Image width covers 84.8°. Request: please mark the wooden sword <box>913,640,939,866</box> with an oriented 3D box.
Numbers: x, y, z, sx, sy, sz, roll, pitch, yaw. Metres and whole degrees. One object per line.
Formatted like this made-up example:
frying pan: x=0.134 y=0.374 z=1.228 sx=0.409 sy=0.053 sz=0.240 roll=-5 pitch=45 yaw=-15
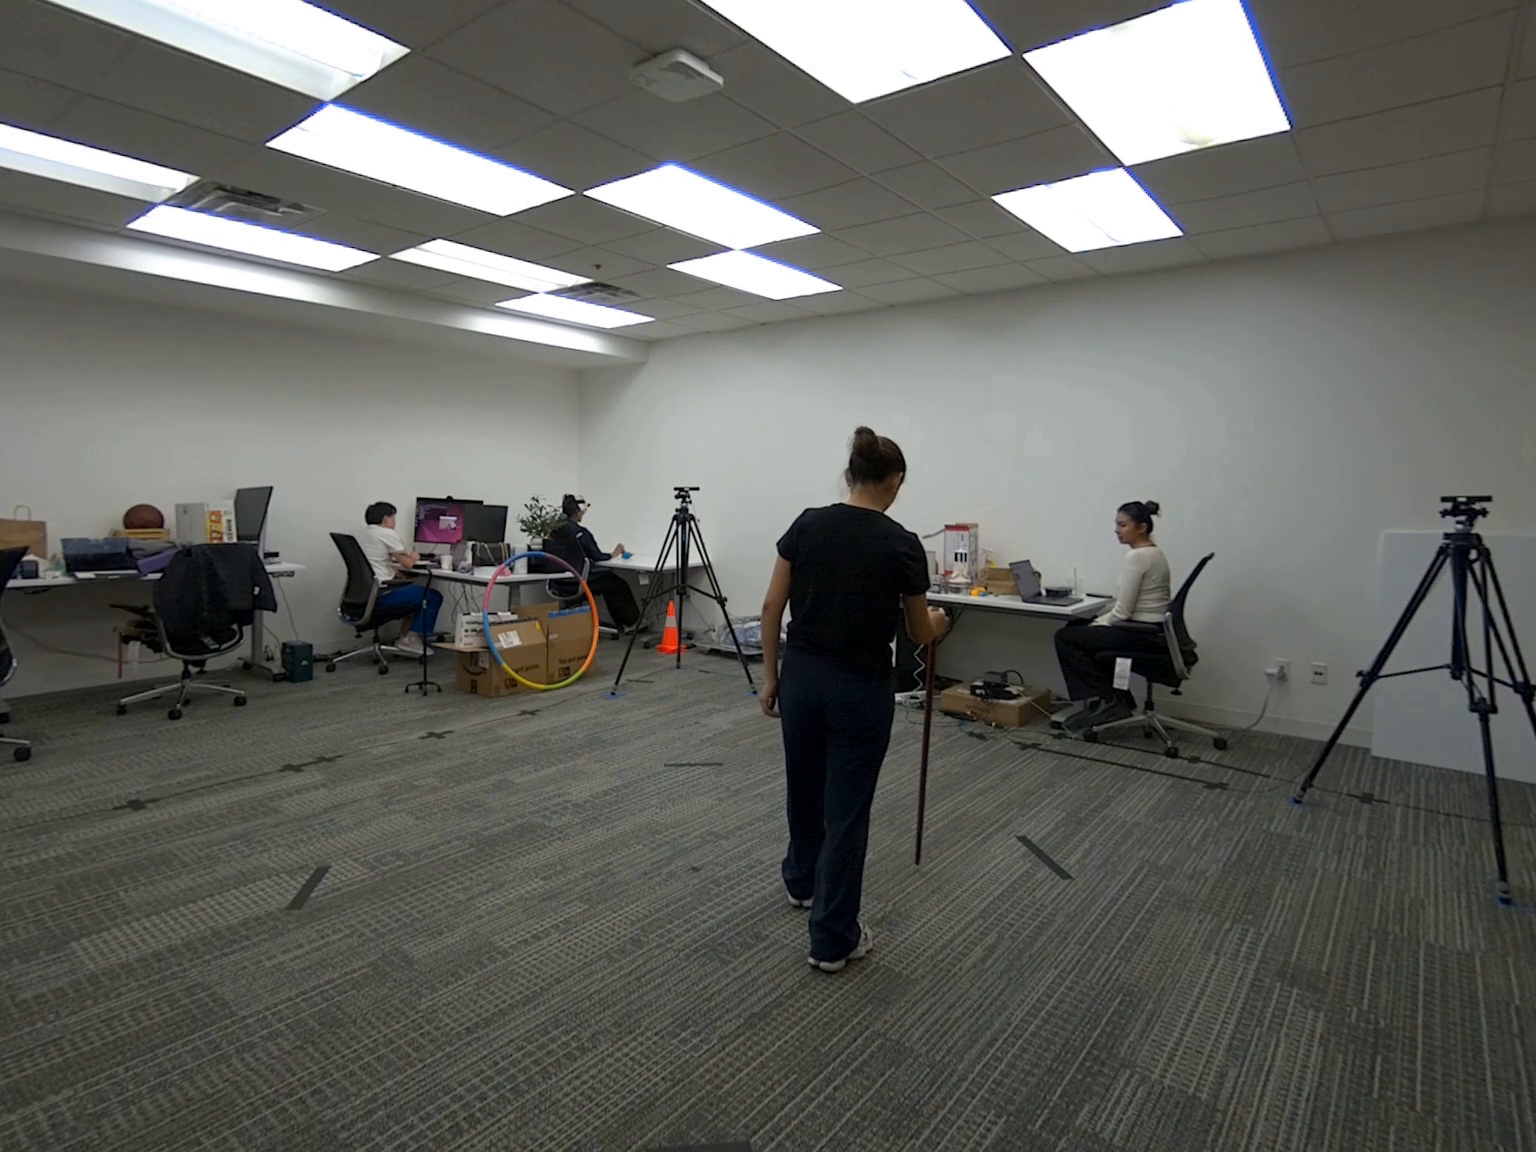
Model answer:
wooden sword: x=0.559 y=0.589 z=2.956 sx=0.024 sy=1.007 sz=0.052 roll=-3 pitch=19 yaw=-8
